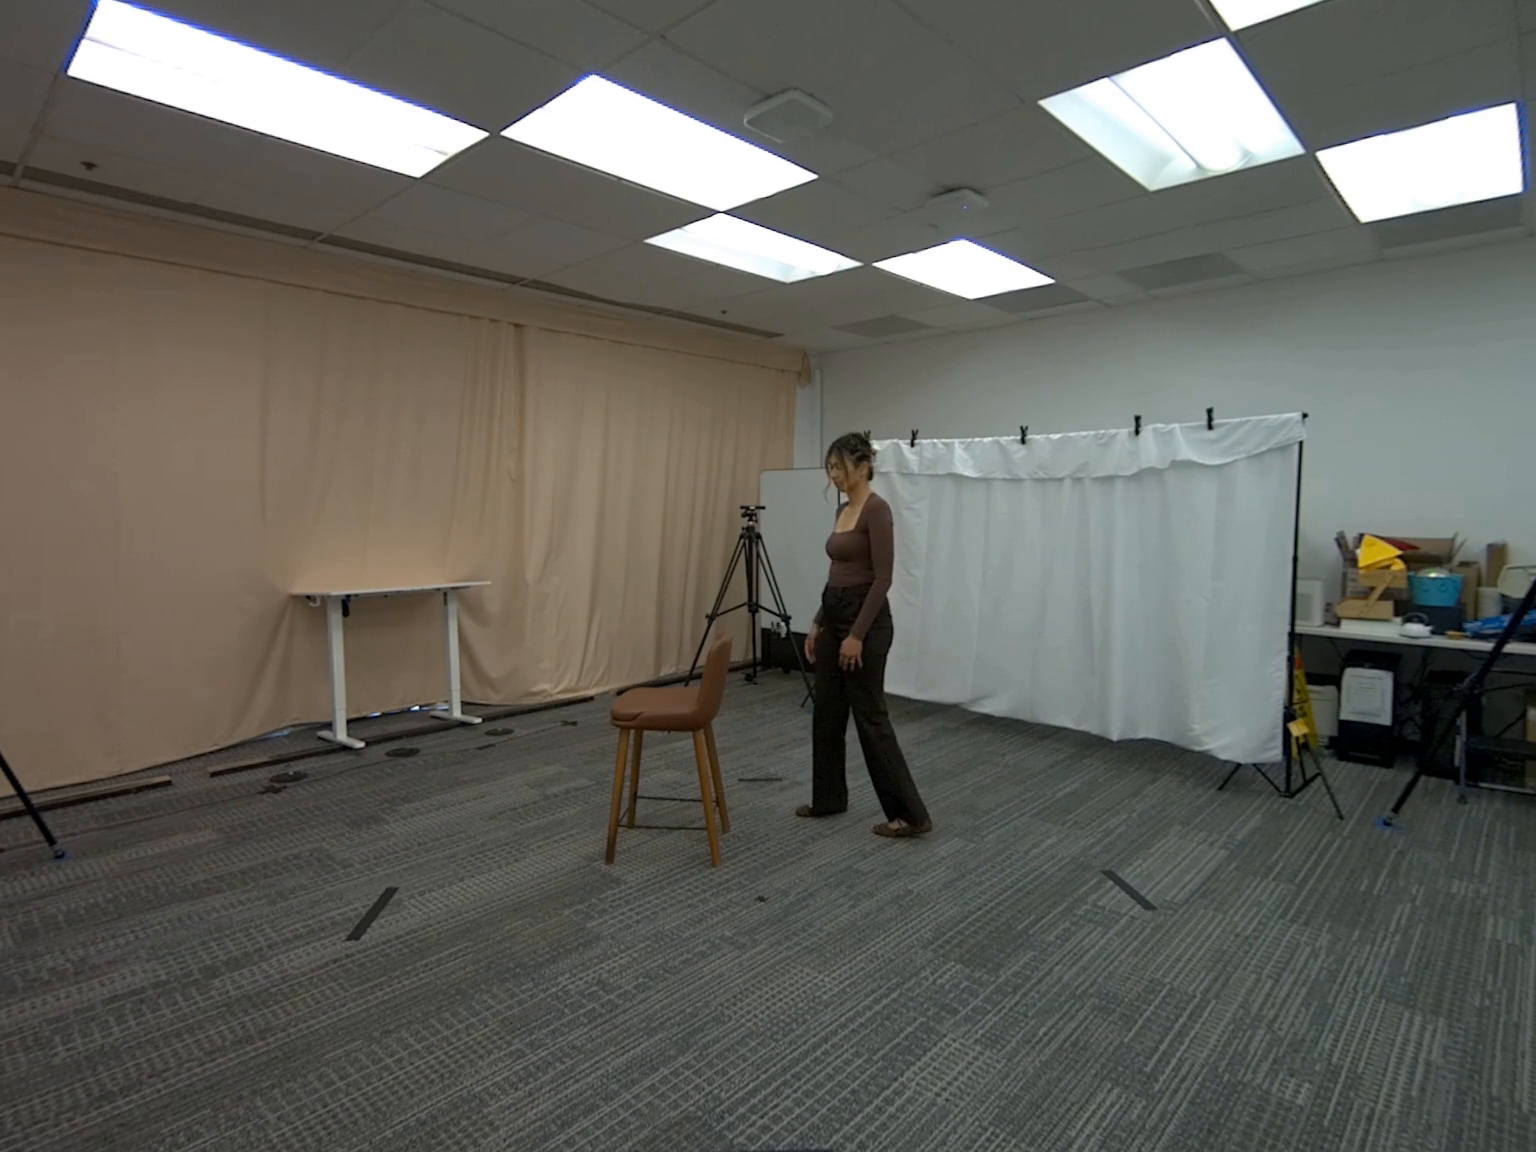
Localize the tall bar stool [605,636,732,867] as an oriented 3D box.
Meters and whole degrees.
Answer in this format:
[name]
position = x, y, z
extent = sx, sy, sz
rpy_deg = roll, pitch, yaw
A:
[tall bar stool]
position = -0.391, 0.673, 3.441
extent = 0.472, 0.888, 0.453
rpy_deg = 2, 4, 7
